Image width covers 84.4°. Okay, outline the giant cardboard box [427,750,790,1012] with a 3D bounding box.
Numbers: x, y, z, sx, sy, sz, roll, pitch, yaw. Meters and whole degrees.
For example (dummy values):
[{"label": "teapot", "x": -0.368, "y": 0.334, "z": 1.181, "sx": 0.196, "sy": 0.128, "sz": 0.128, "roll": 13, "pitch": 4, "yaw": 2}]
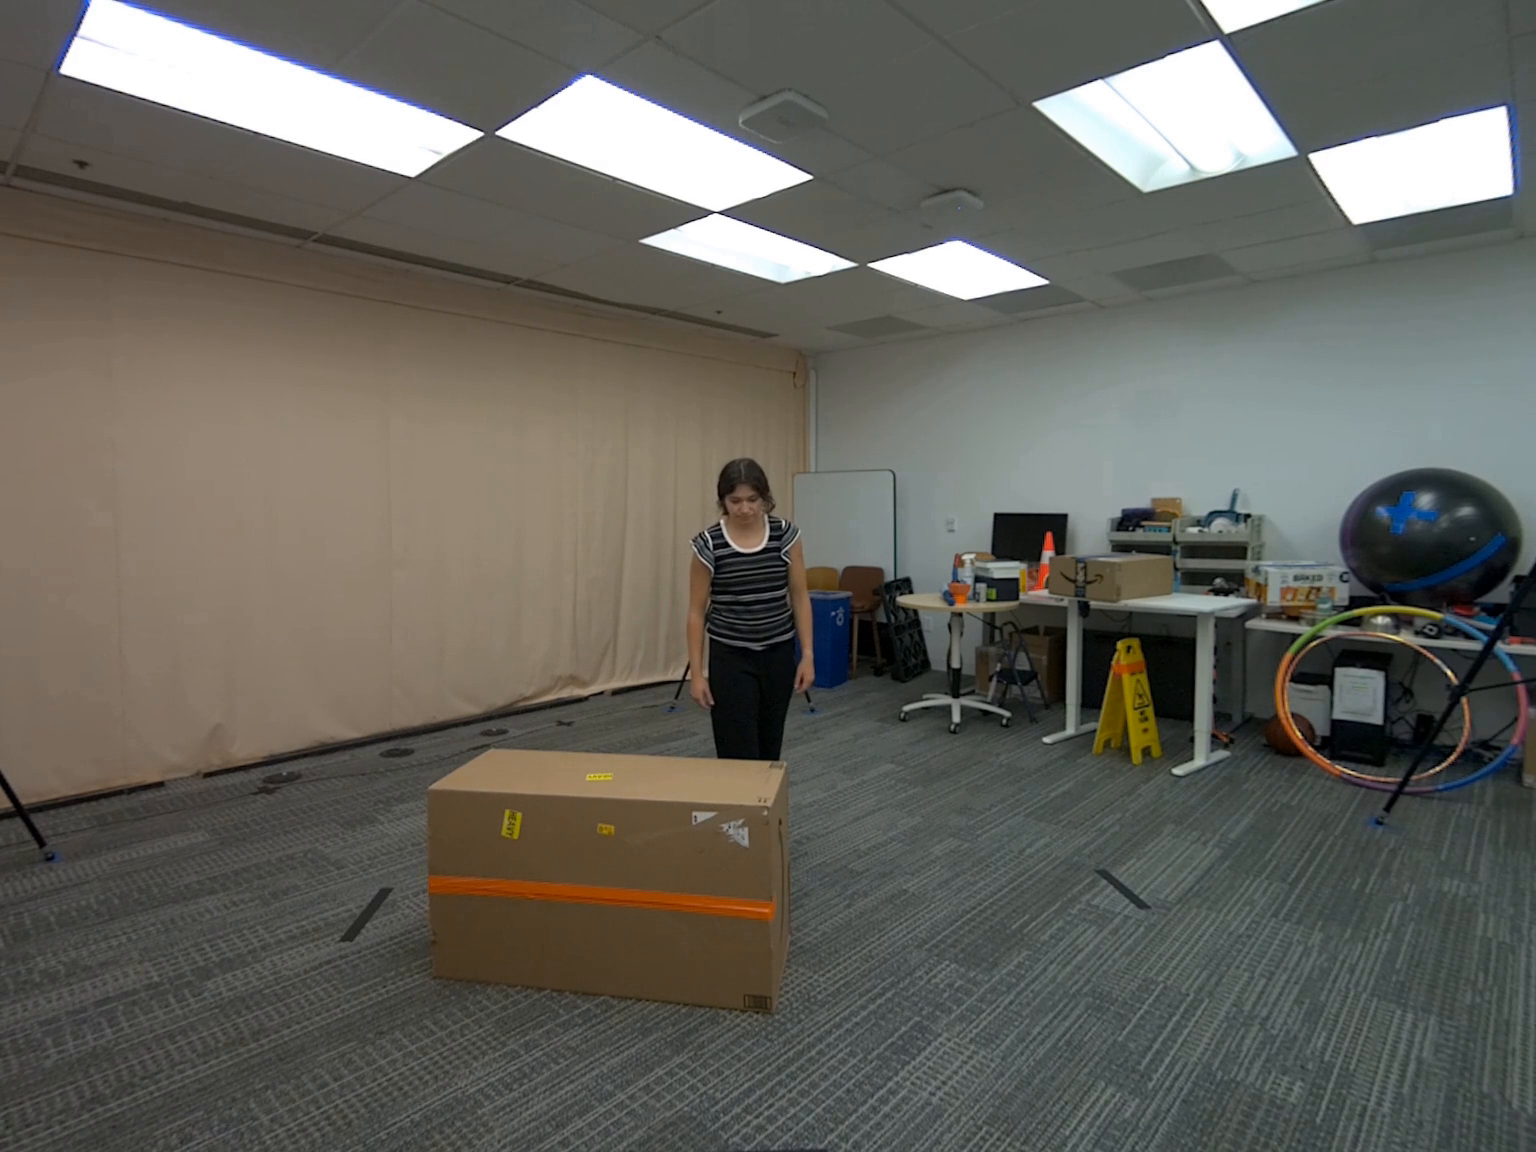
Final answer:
[{"label": "giant cardboard box", "x": -0.474, "y": 0.891, "z": 2.585, "sx": 1.038, "sy": 0.576, "sz": 0.422, "roll": 0, "pitch": 3, "yaw": 11}]
